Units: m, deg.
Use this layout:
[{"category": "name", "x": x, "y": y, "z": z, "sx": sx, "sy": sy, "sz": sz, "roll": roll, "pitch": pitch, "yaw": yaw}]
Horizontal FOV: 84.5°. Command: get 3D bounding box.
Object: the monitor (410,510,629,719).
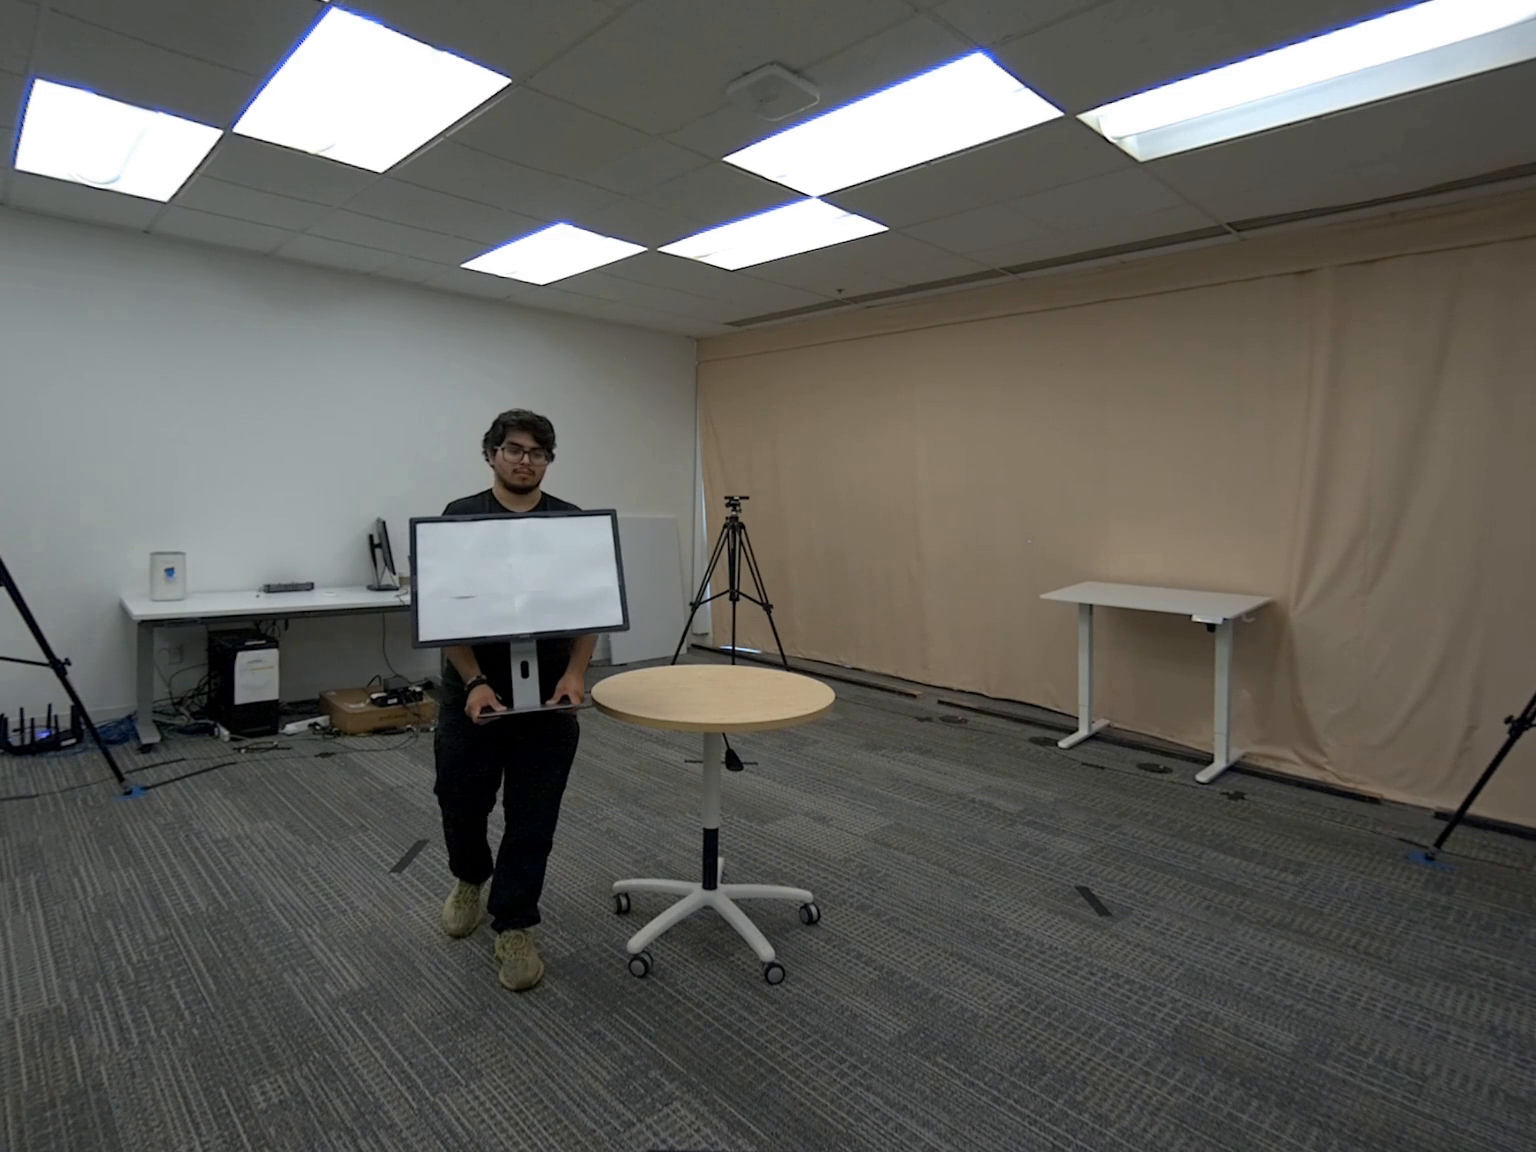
[{"category": "monitor", "x": -0.684, "y": 0.104, "z": 2.312, "sx": 0.559, "sy": 0.561, "sz": 0.210, "roll": -4, "pitch": -15, "yaw": -15}]
